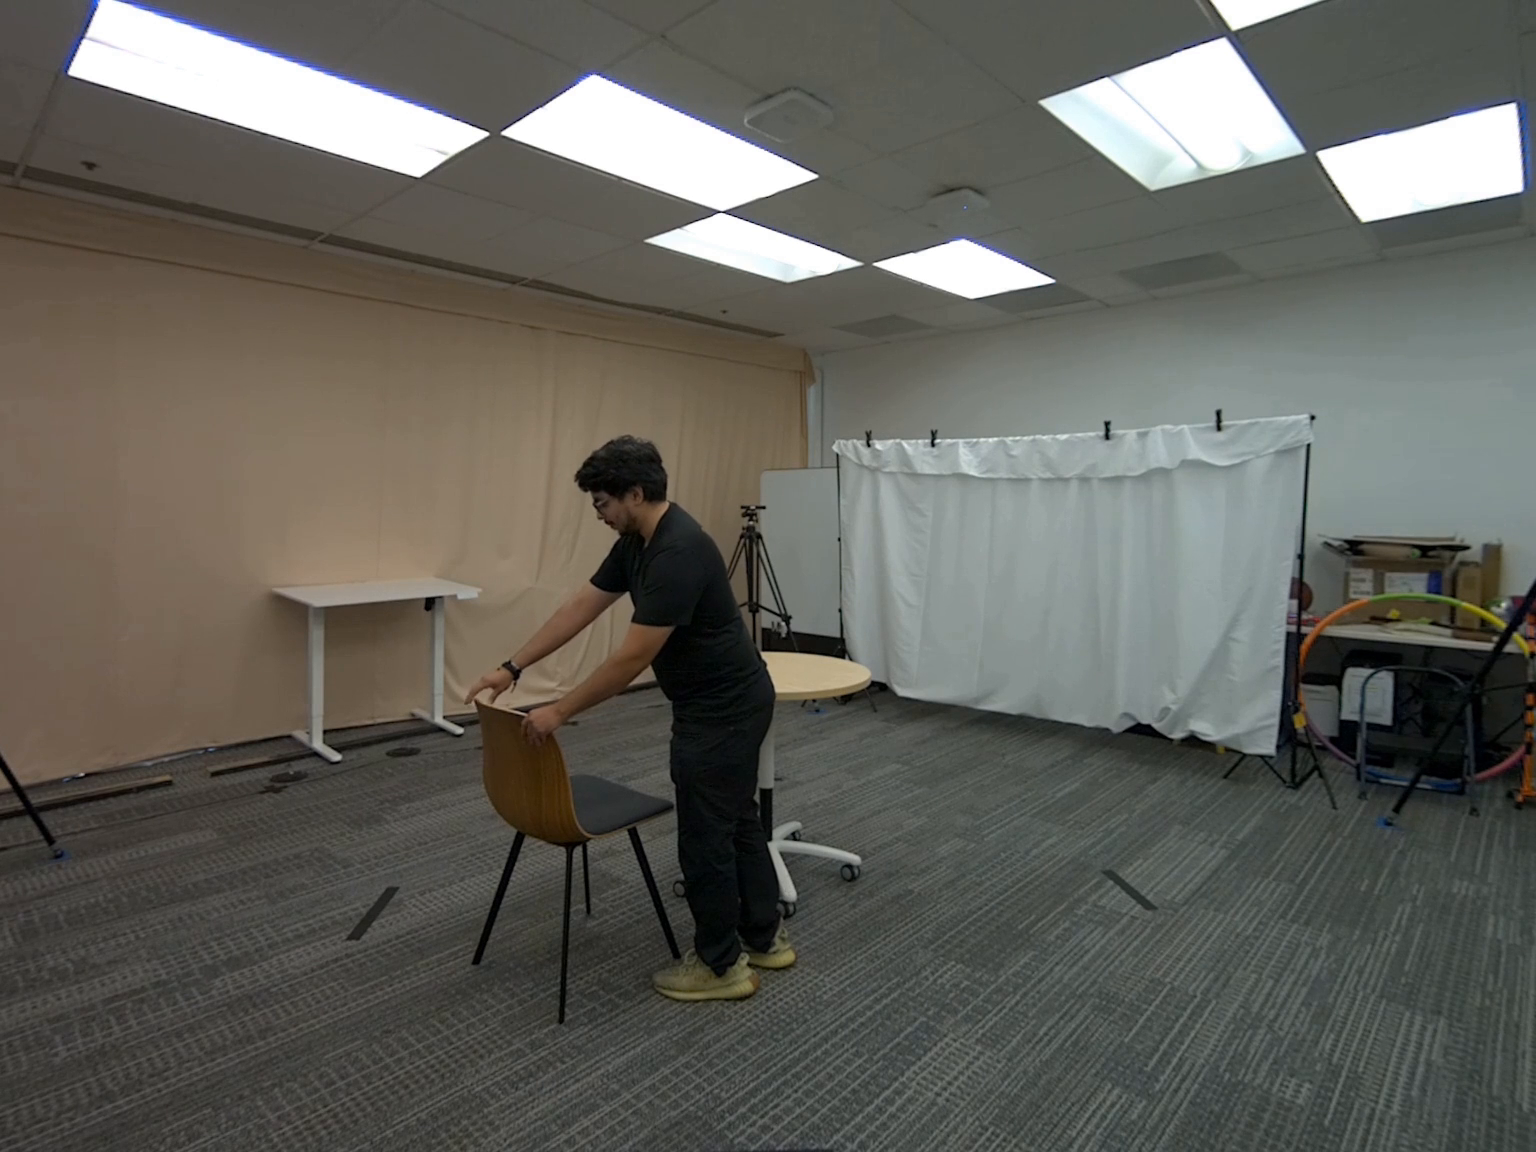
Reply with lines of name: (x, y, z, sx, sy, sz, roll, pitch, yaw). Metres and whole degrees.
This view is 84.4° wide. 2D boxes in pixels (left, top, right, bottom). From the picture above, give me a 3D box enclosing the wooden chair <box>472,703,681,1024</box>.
wooden chair: (-0.584, 0.755, 2.559, 0.494, 0.874, 0.508, 1, 8, 41)
